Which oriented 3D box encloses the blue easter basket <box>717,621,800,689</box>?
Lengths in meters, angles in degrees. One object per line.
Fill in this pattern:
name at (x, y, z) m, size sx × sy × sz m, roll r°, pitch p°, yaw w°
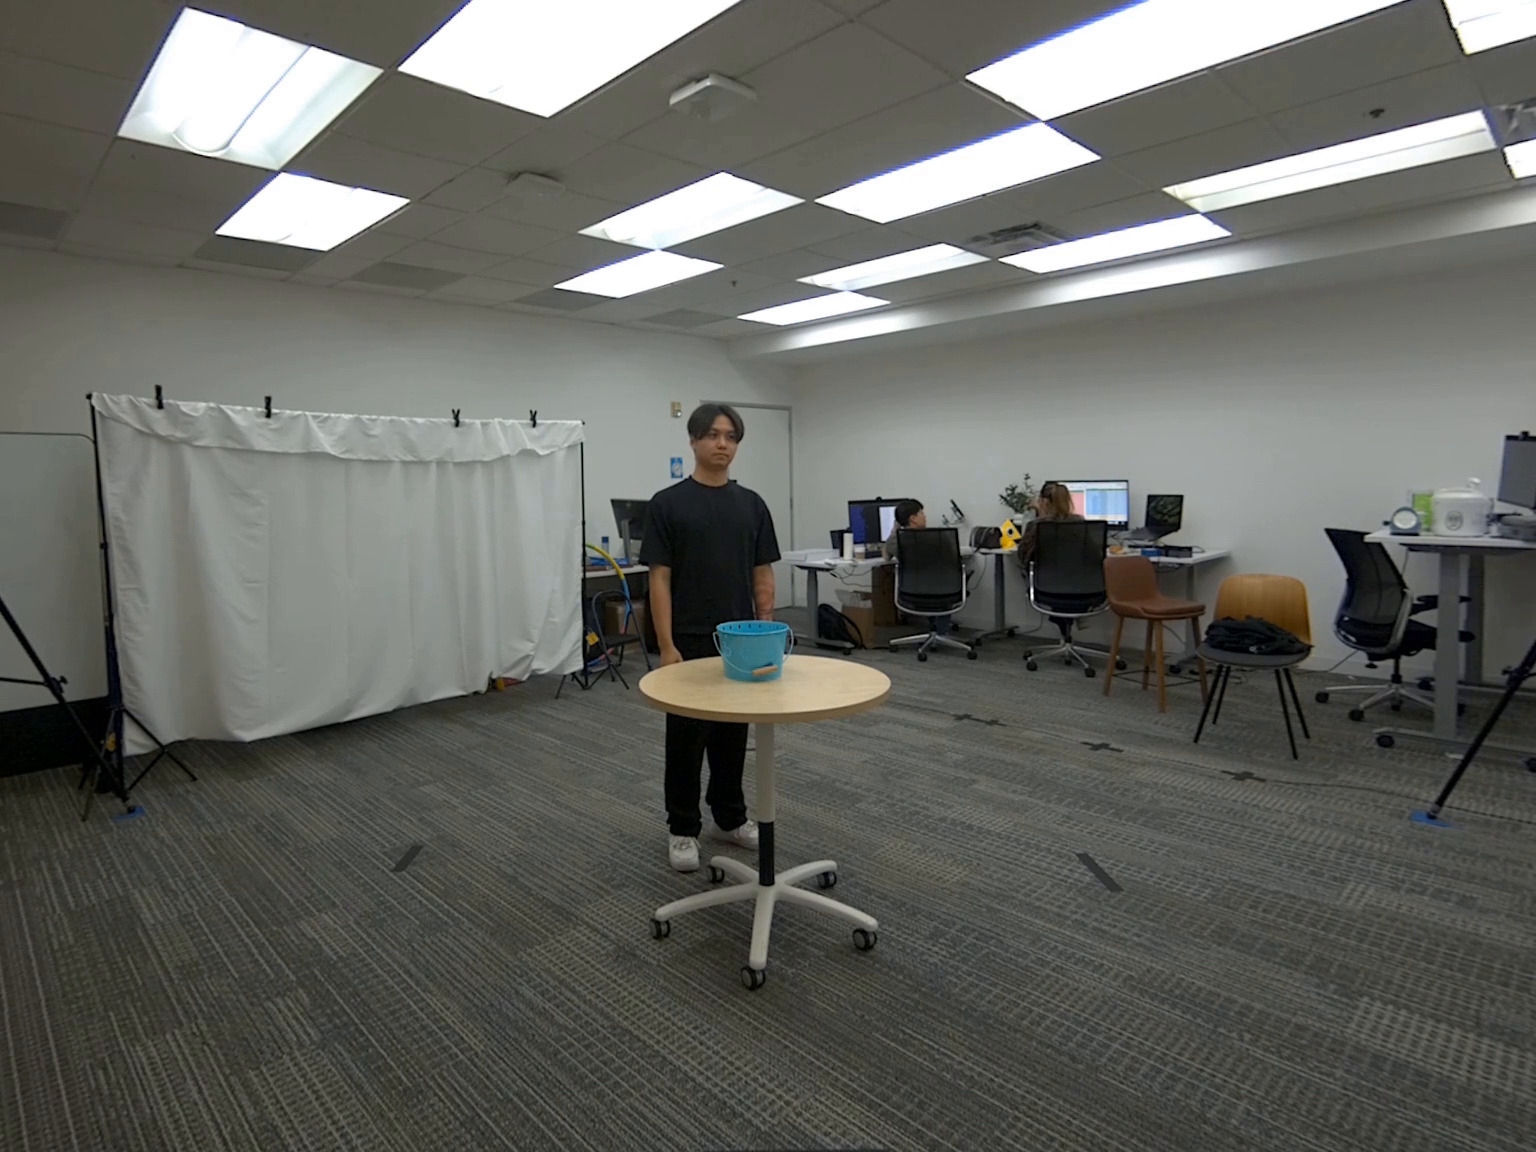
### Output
blue easter basket at (-0.038, 0.241, 2.696) m, size 0.243 × 0.155 × 0.245 m, roll 1°, pitch 7°, yaw -2°
